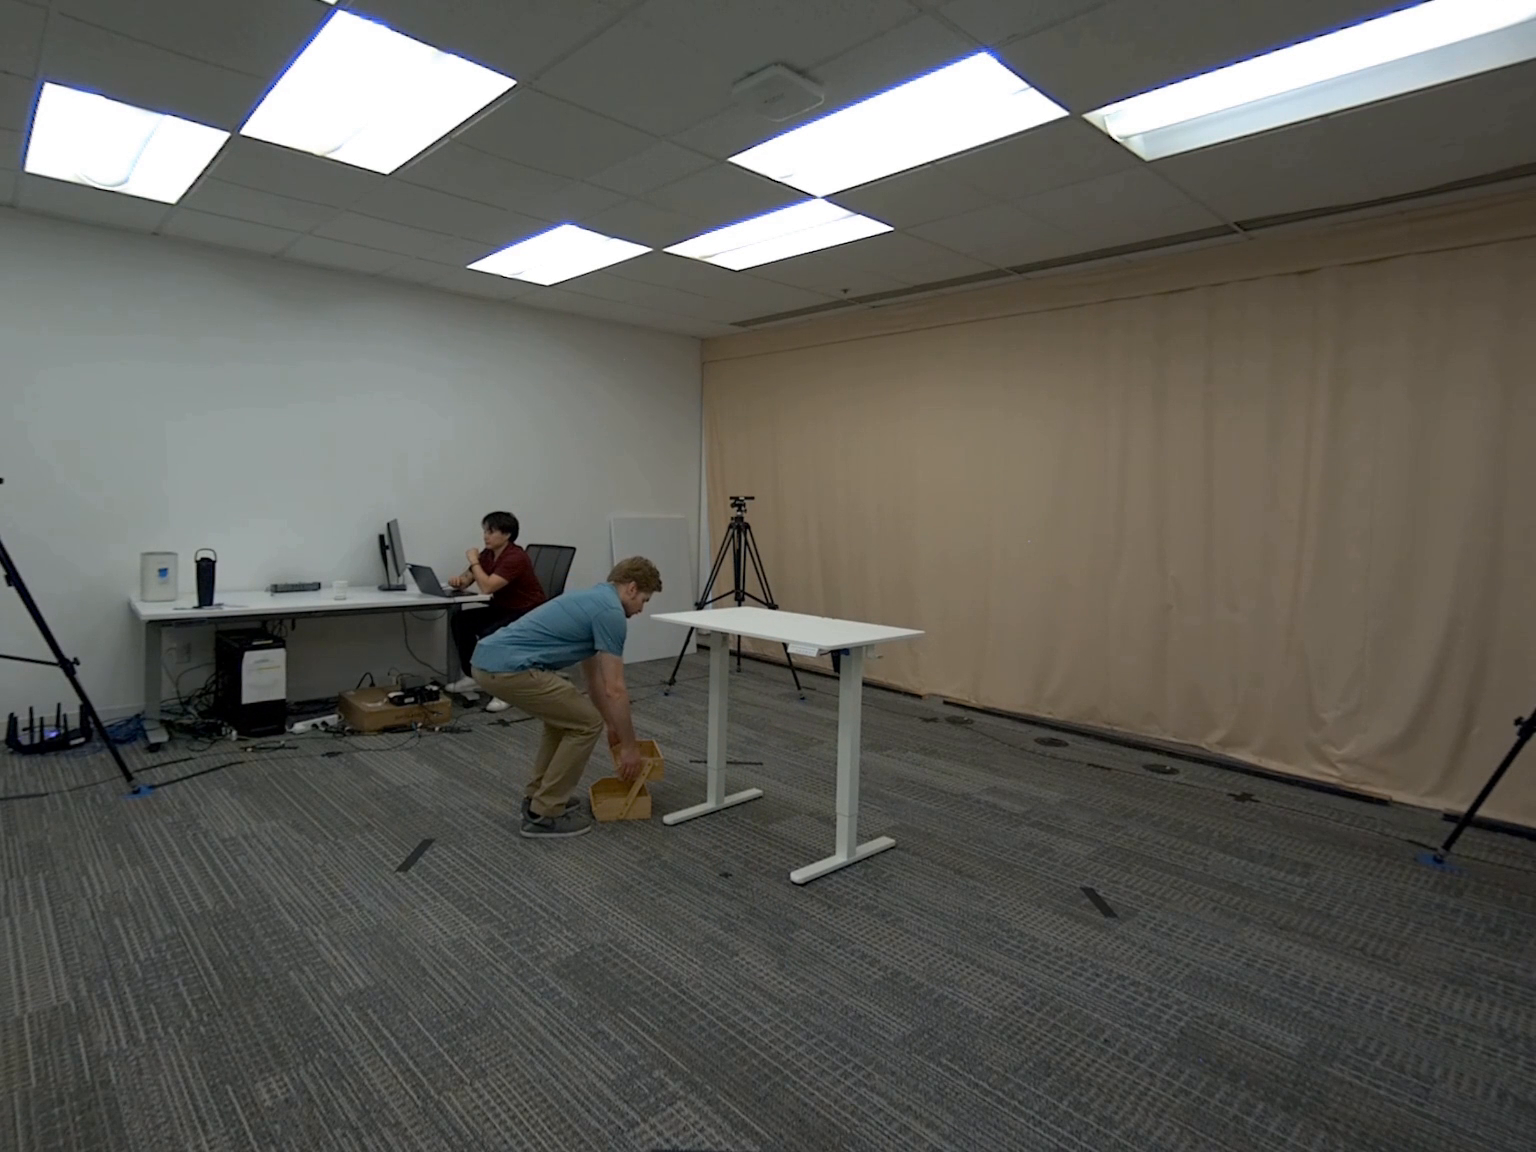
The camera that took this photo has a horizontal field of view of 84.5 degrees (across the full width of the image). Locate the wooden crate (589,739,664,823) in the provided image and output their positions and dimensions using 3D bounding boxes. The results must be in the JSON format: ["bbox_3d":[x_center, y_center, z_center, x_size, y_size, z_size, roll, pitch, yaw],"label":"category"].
[{"bbox_3d":[-0.651,0.900,3.763,0.298,0.273,0.329,1,4,-15],"label":"wooden crate"}]
